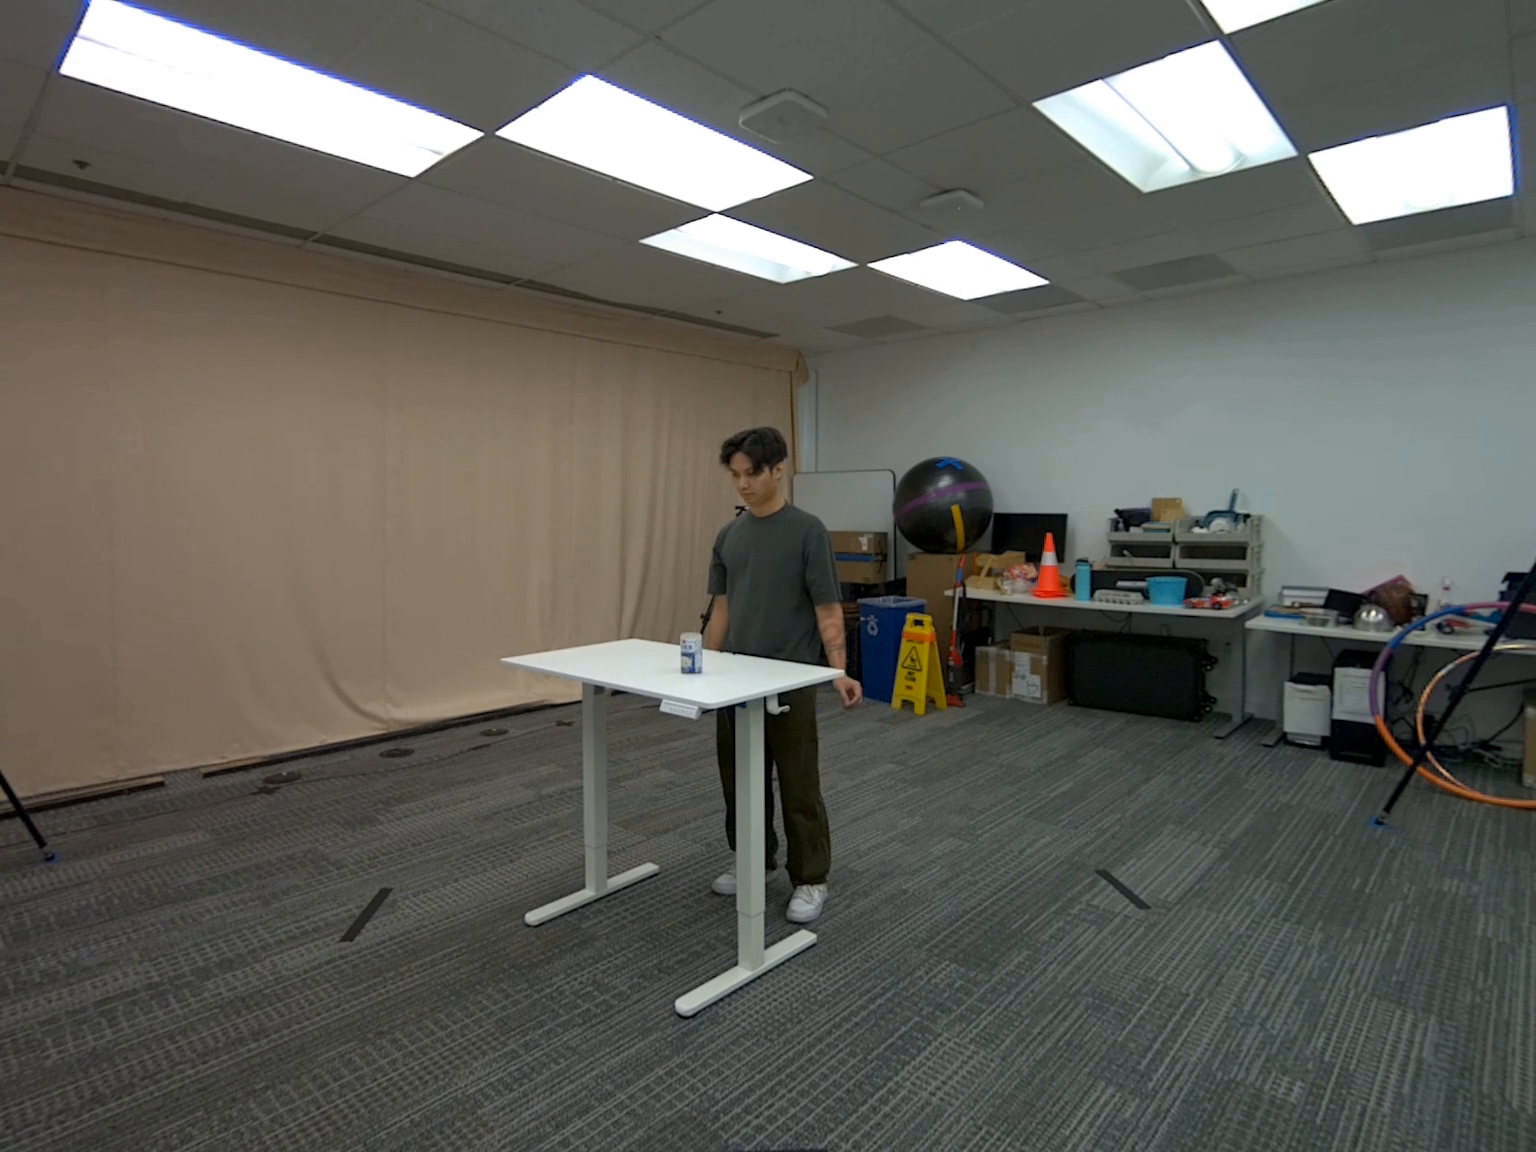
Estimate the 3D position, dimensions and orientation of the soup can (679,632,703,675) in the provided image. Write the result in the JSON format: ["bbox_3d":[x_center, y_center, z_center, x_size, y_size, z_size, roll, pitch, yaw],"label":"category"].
[{"bbox_3d":[-0.234,0.238,2.583,0.067,0.121,0.067,1,0,-2],"label":"soup can"}]
